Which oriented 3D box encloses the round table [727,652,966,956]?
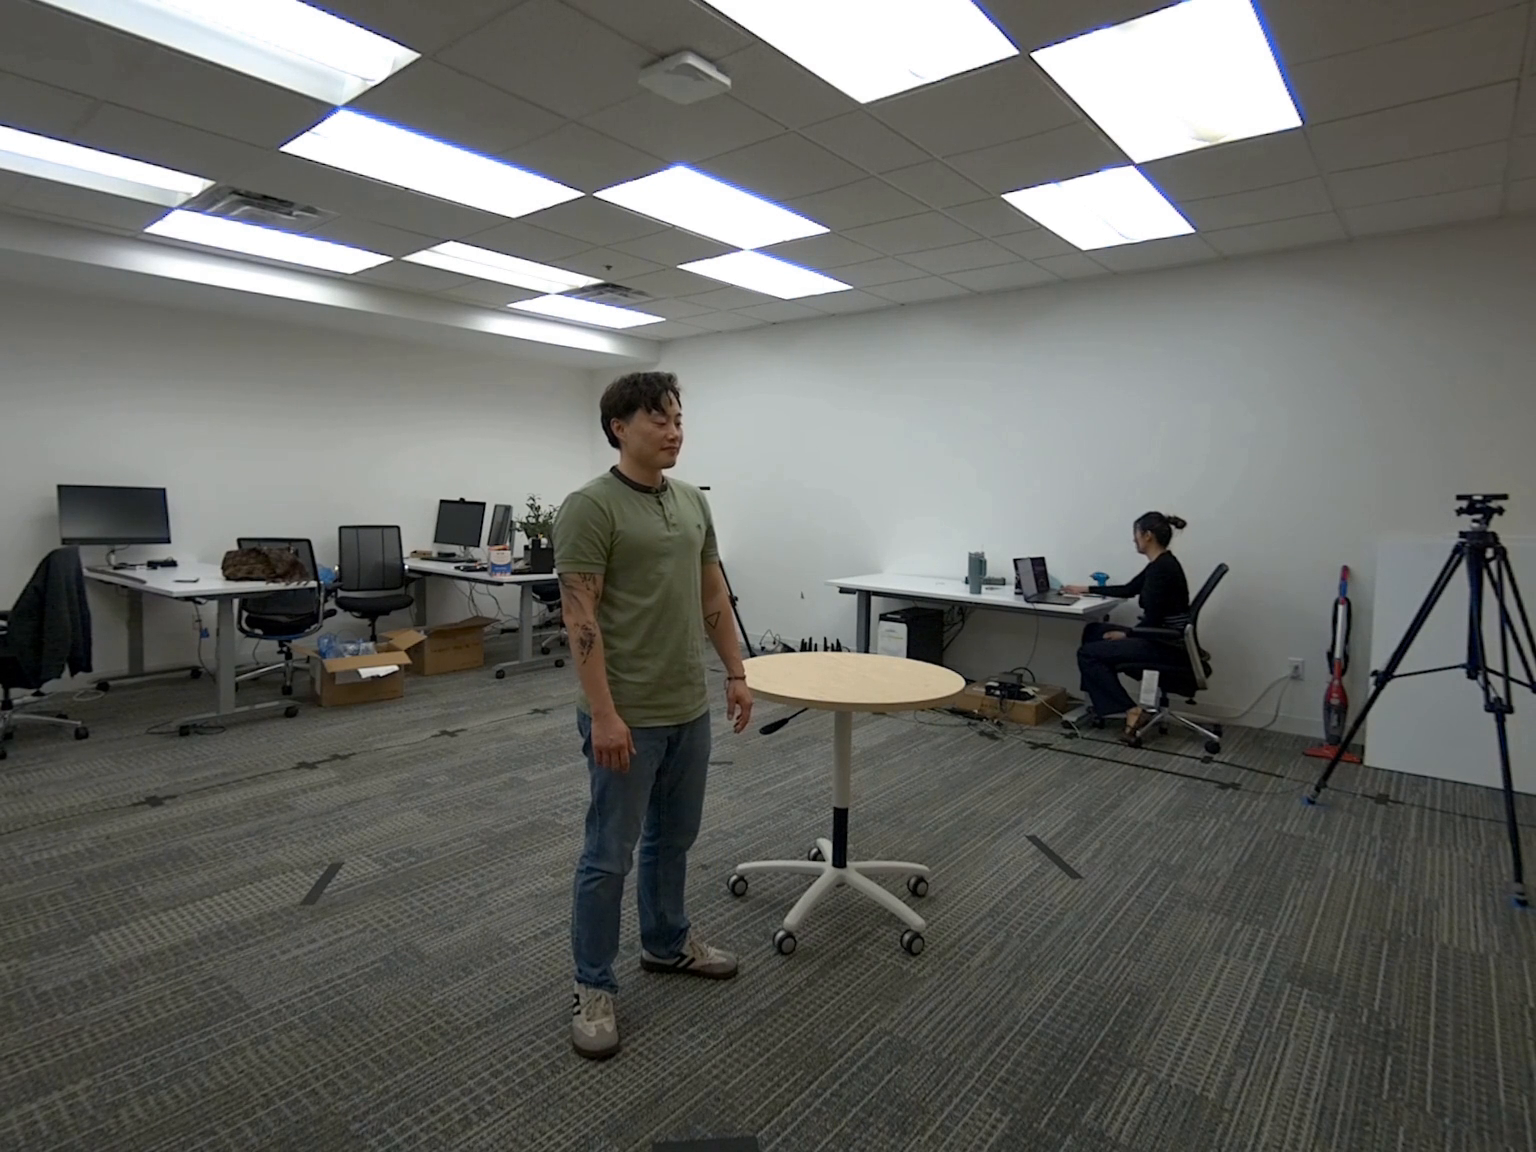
[{"bbox_3d":[0.236,0.714,2.815,0.763,0.791,0.768,1,4,-2],"label":"round table"}]
